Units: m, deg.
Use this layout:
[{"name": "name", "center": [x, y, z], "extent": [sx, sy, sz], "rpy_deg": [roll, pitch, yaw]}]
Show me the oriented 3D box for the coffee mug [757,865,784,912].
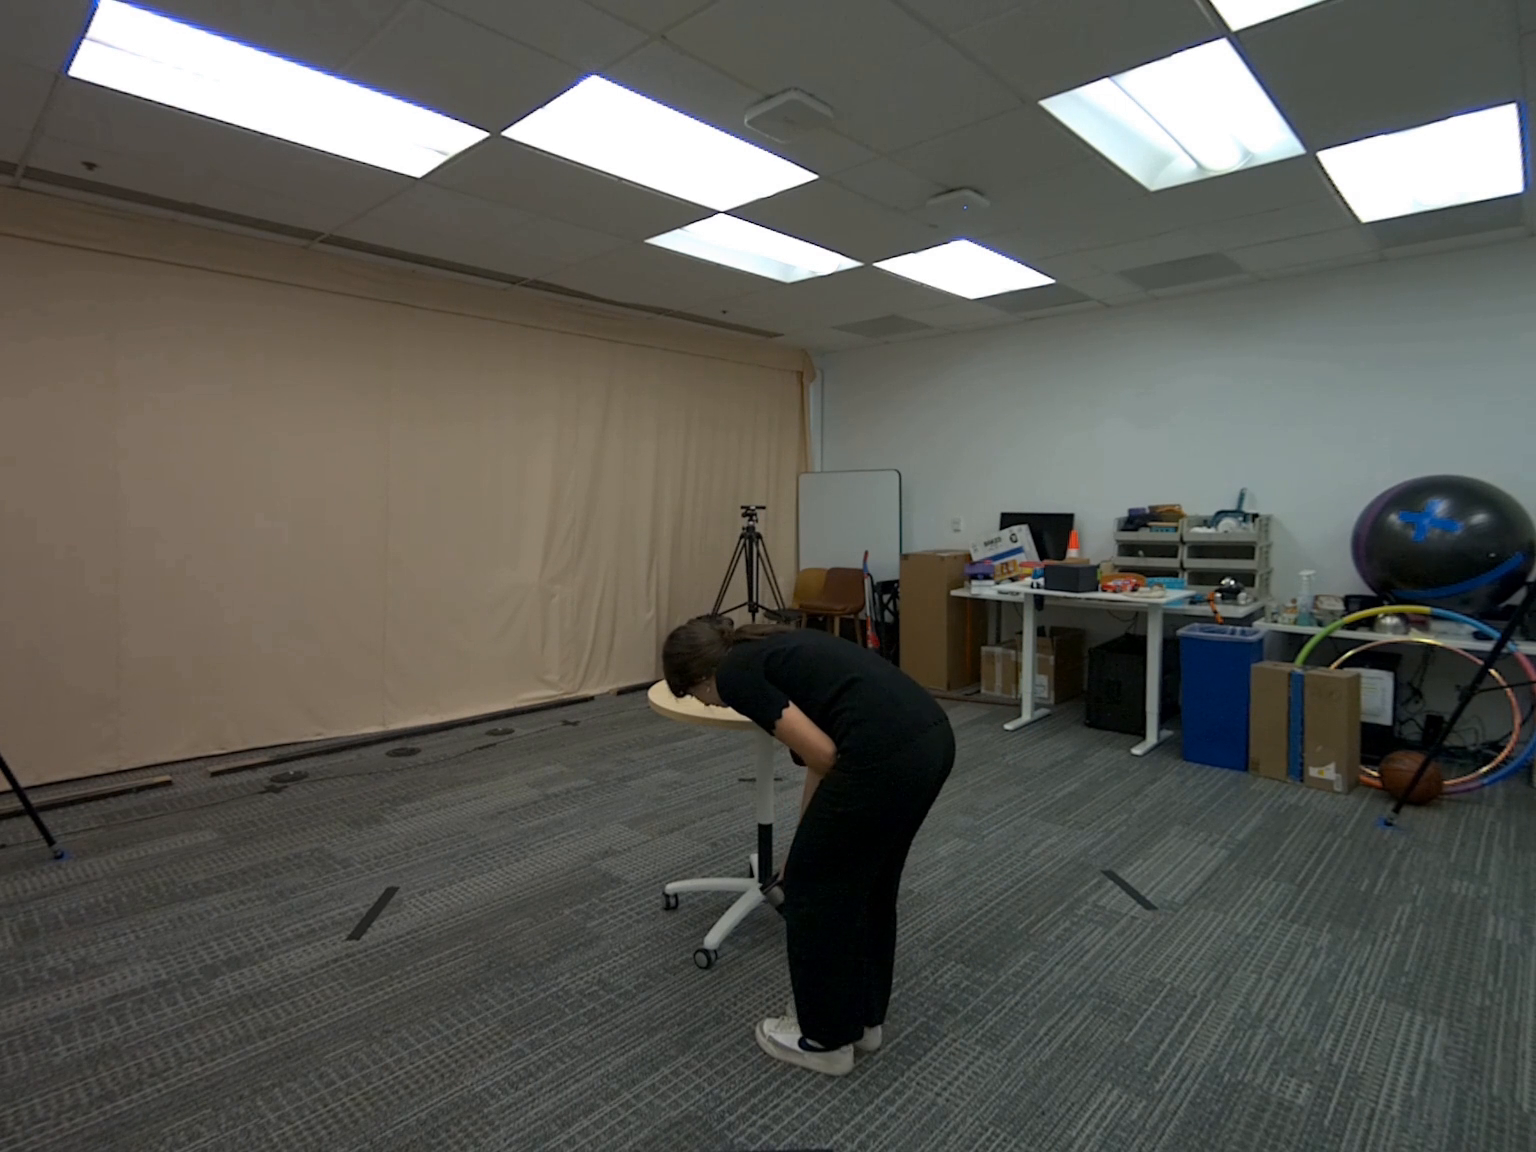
[{"name": "coffee mug", "center": [0.078, 0.960, 2.395], "extent": [0.086, 0.207, 0.121], "rpy_deg": [-28, -20, -27]}]
